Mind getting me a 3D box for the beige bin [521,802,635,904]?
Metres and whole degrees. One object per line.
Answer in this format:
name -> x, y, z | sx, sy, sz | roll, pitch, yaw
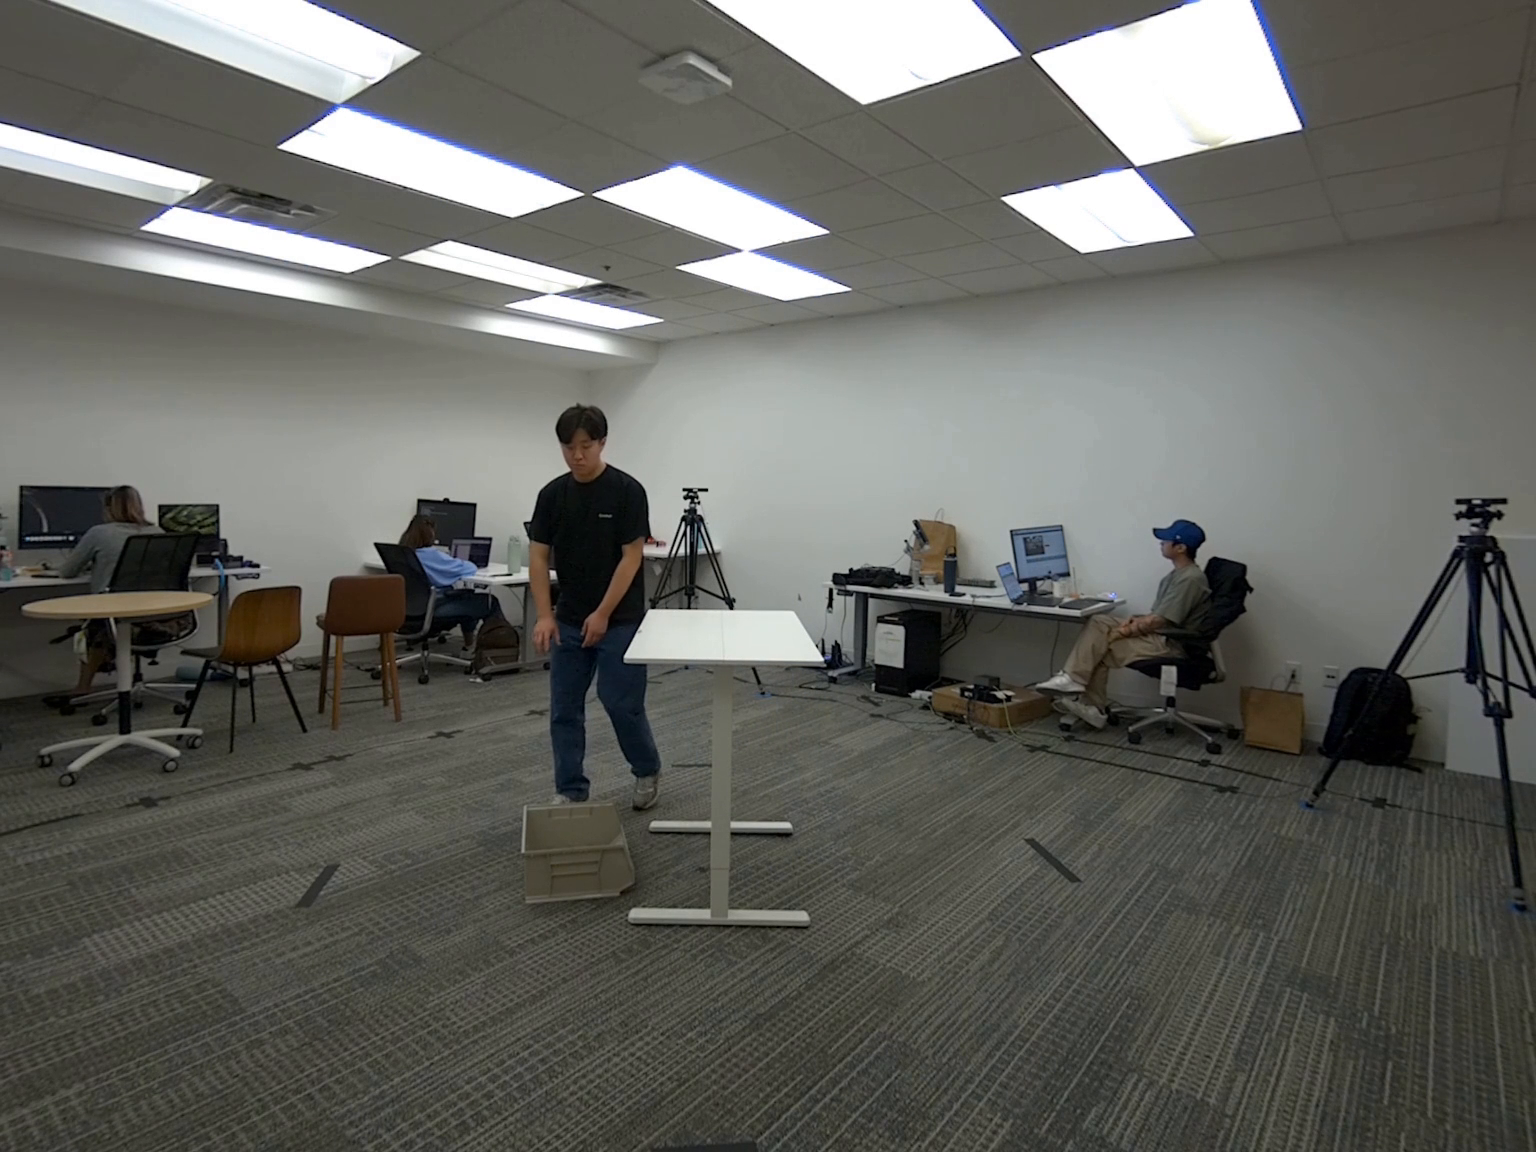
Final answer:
beige bin -> -0.703, 0.985, 3.047 | 0.372, 0.188, 0.430 | -1, 5, -14
